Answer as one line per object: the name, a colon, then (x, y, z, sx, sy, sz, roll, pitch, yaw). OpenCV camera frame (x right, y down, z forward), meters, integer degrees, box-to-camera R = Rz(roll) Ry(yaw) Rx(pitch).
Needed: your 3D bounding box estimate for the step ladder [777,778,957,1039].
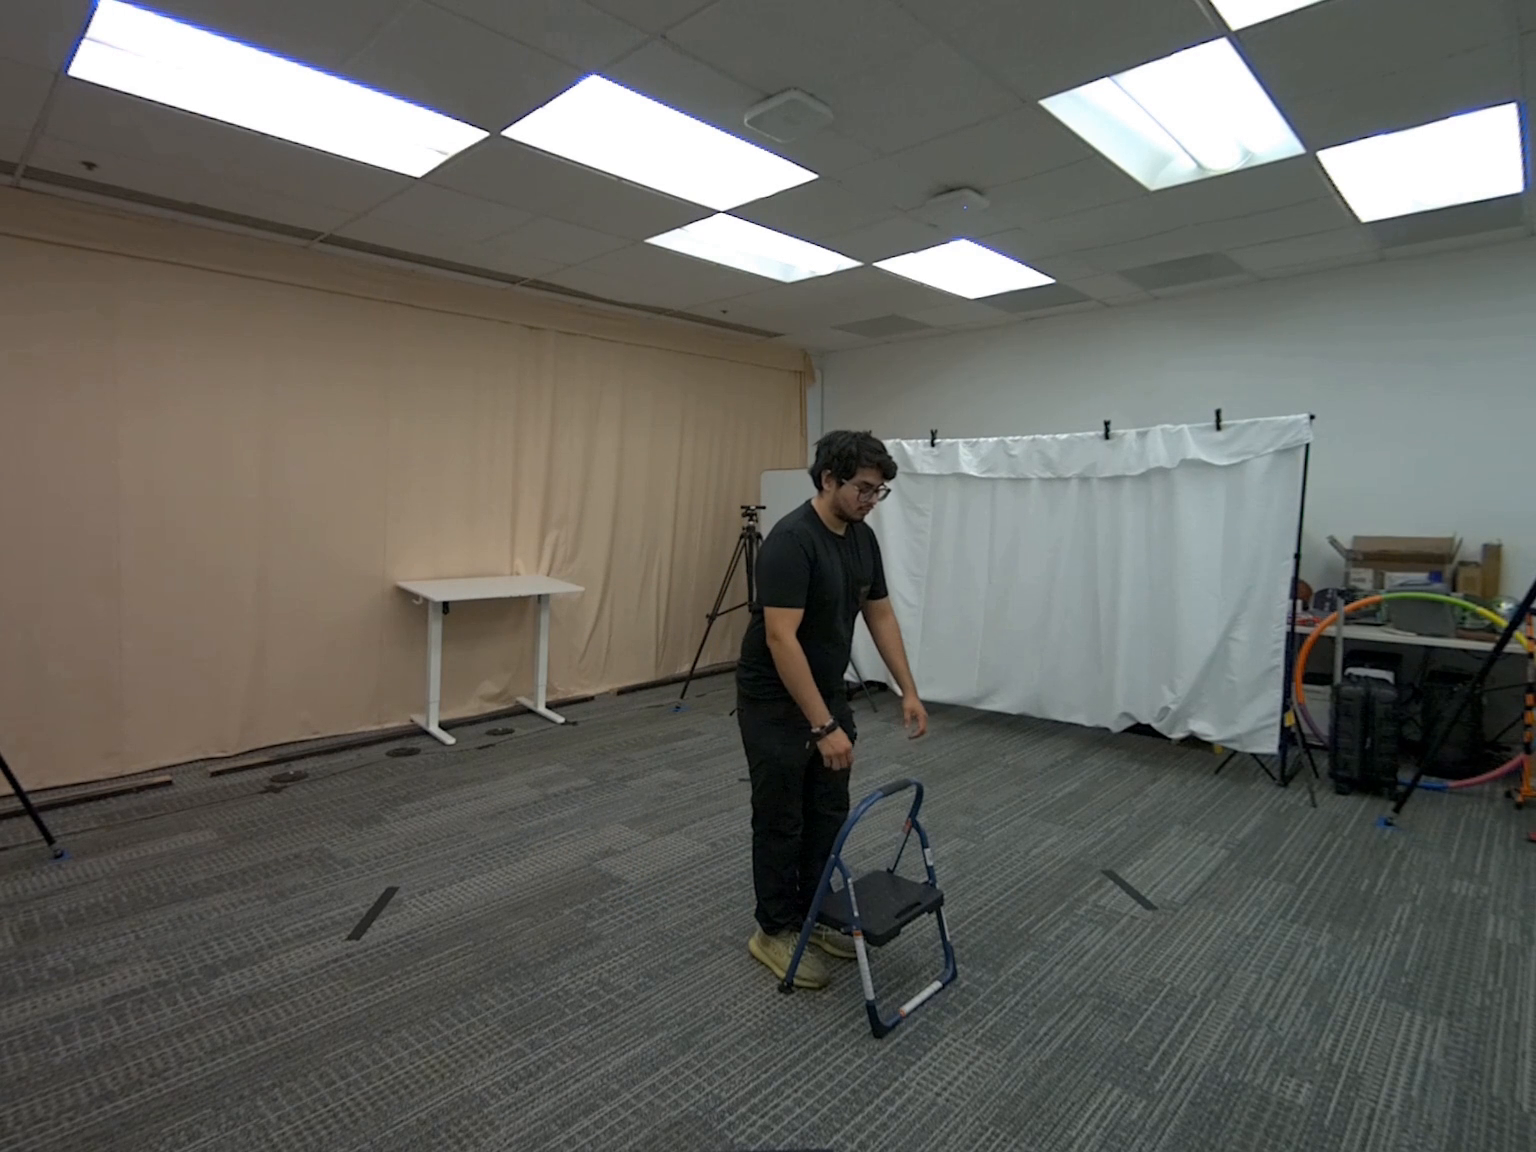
step ladder: (0.303, 0.888, 2.432, 0.361, 0.604, 0.417, 3, 5, 42)
